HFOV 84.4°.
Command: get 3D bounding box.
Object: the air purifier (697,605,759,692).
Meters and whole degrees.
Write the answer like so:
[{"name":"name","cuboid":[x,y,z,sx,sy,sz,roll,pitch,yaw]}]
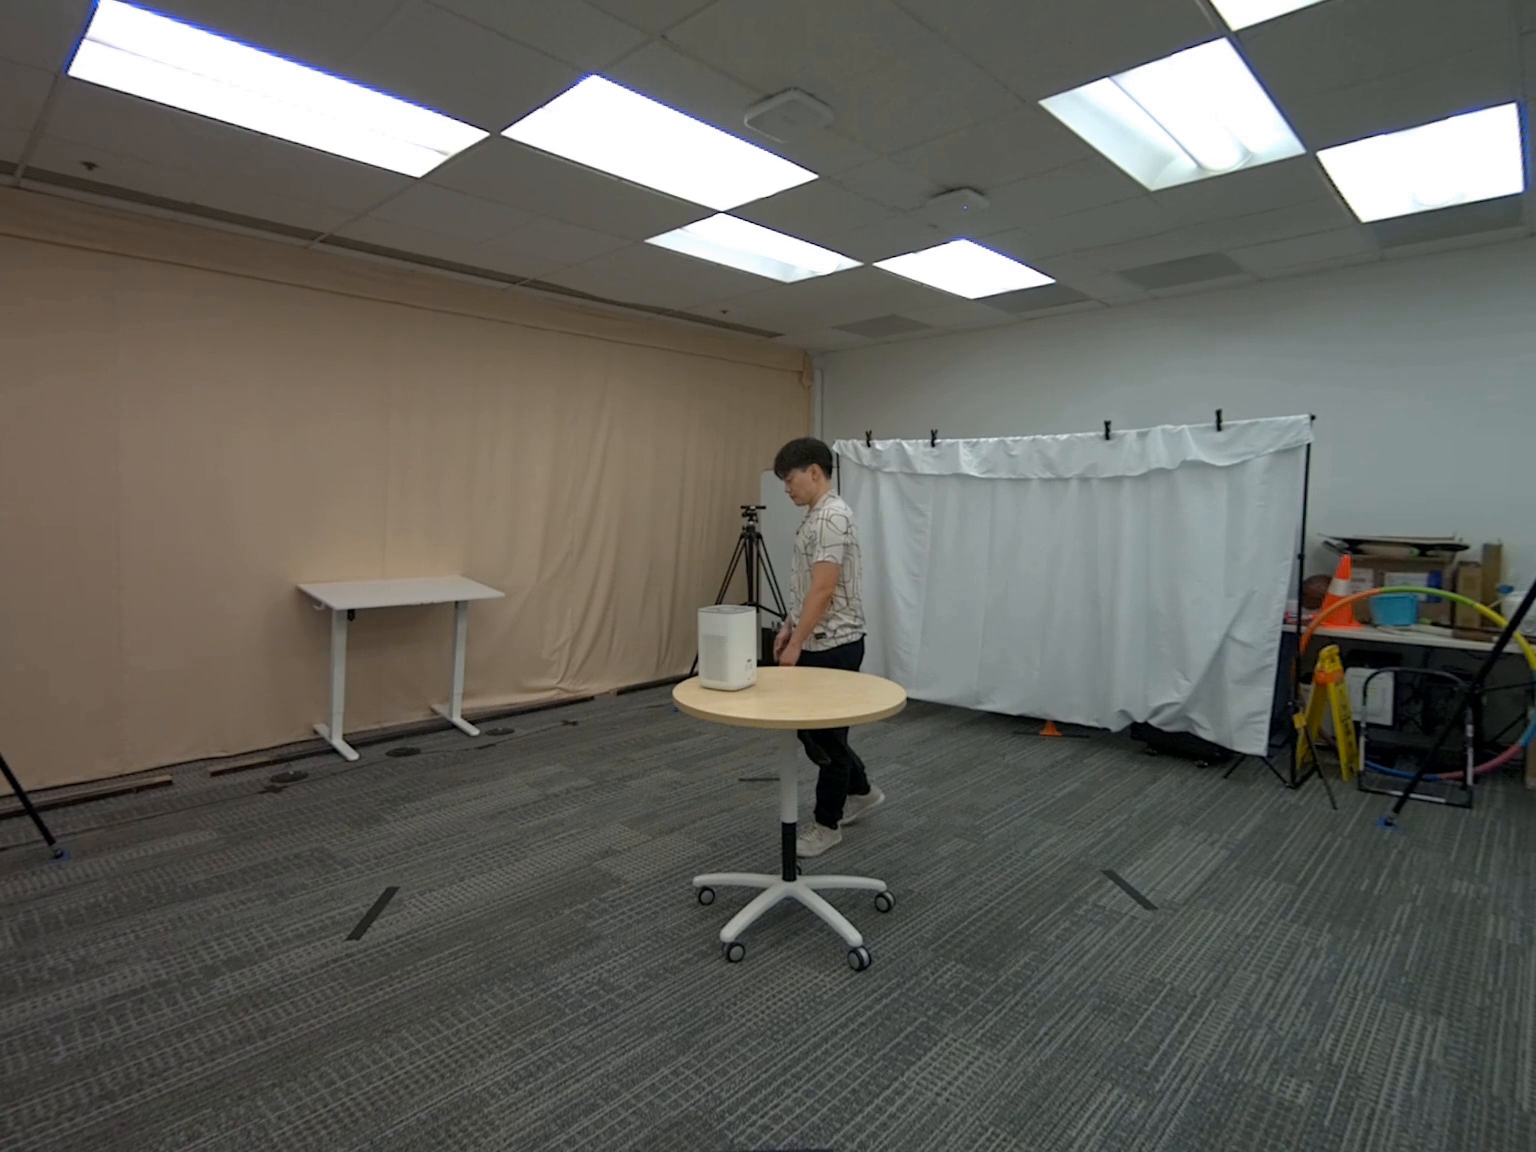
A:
[{"name":"air purifier","cuboid":[-0.132,0.242,2.846,0.176,0.265,0.166,3,5,29]}]
